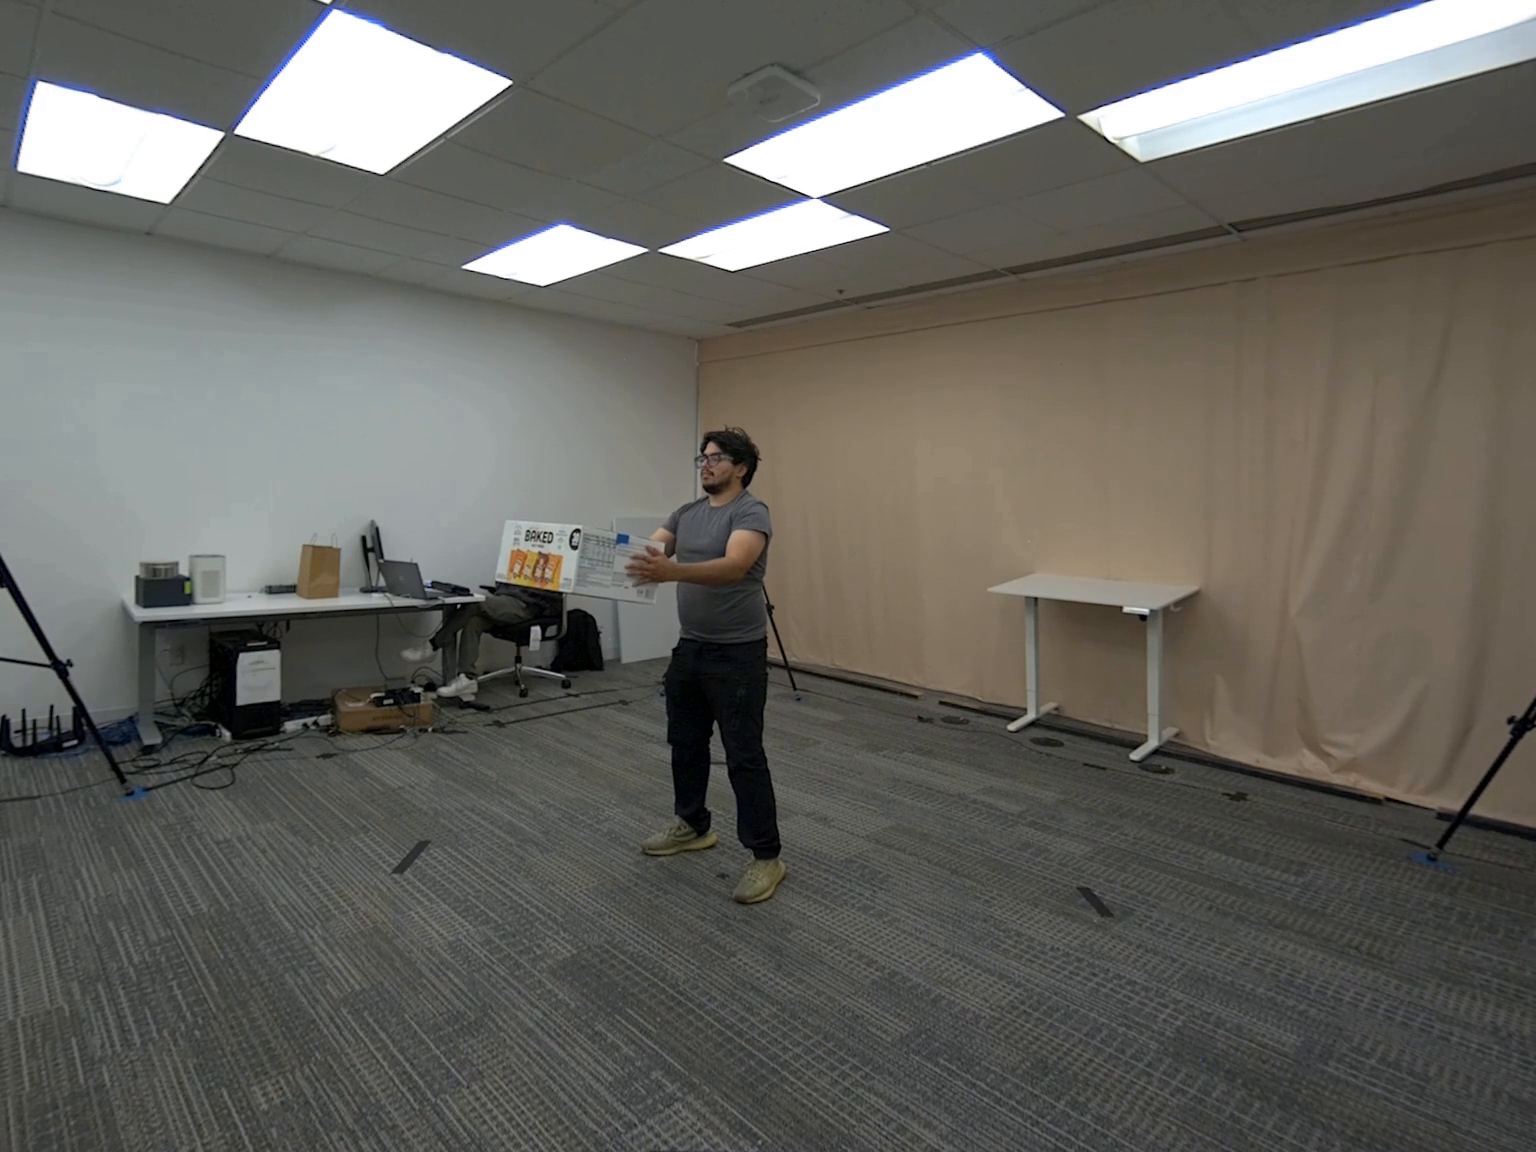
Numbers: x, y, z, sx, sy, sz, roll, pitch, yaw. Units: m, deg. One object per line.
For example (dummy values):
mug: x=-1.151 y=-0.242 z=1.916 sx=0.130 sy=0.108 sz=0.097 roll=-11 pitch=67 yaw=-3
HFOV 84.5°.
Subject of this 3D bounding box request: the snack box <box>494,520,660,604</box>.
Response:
snack box: x=-0.611 y=-0.044 z=2.710 sx=0.415 sy=0.206 sz=0.331 roll=6 pitch=-3 yaw=41
